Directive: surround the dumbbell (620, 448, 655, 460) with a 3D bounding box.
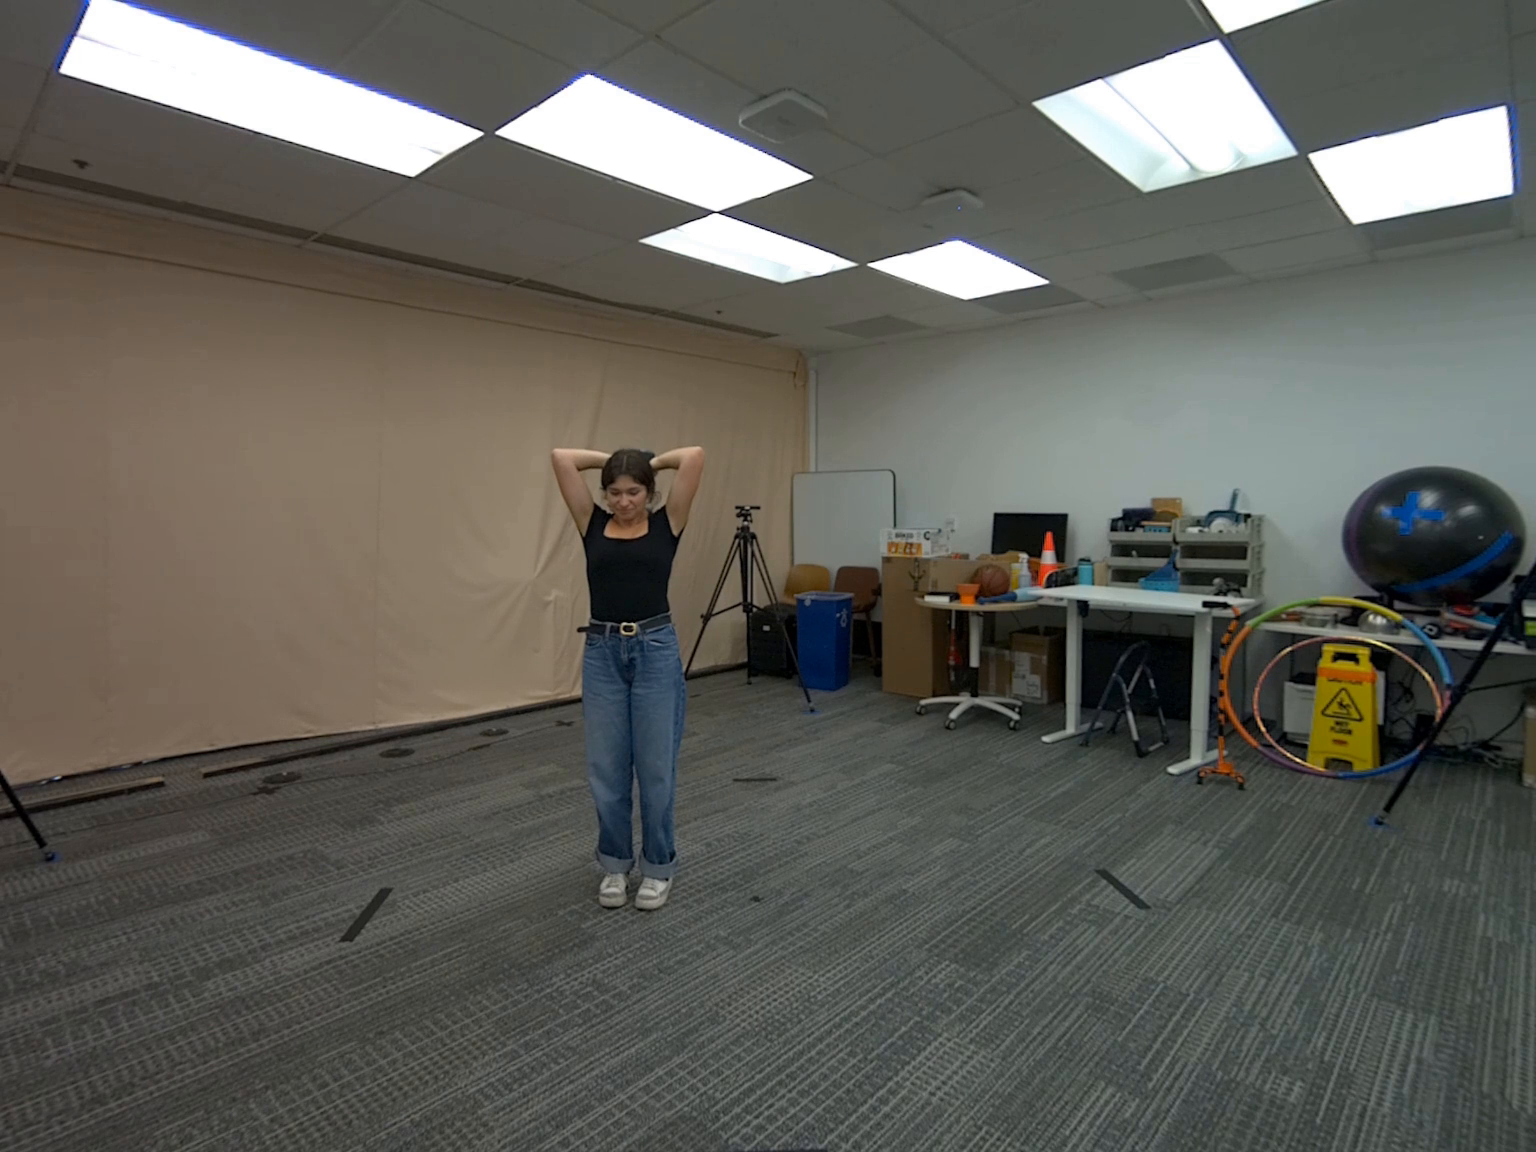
[{"bbox_3d":[-0.489,-0.329,3.138,0.112,0.294,0.119,1,-1,28],"label":"dumbbell"}]
